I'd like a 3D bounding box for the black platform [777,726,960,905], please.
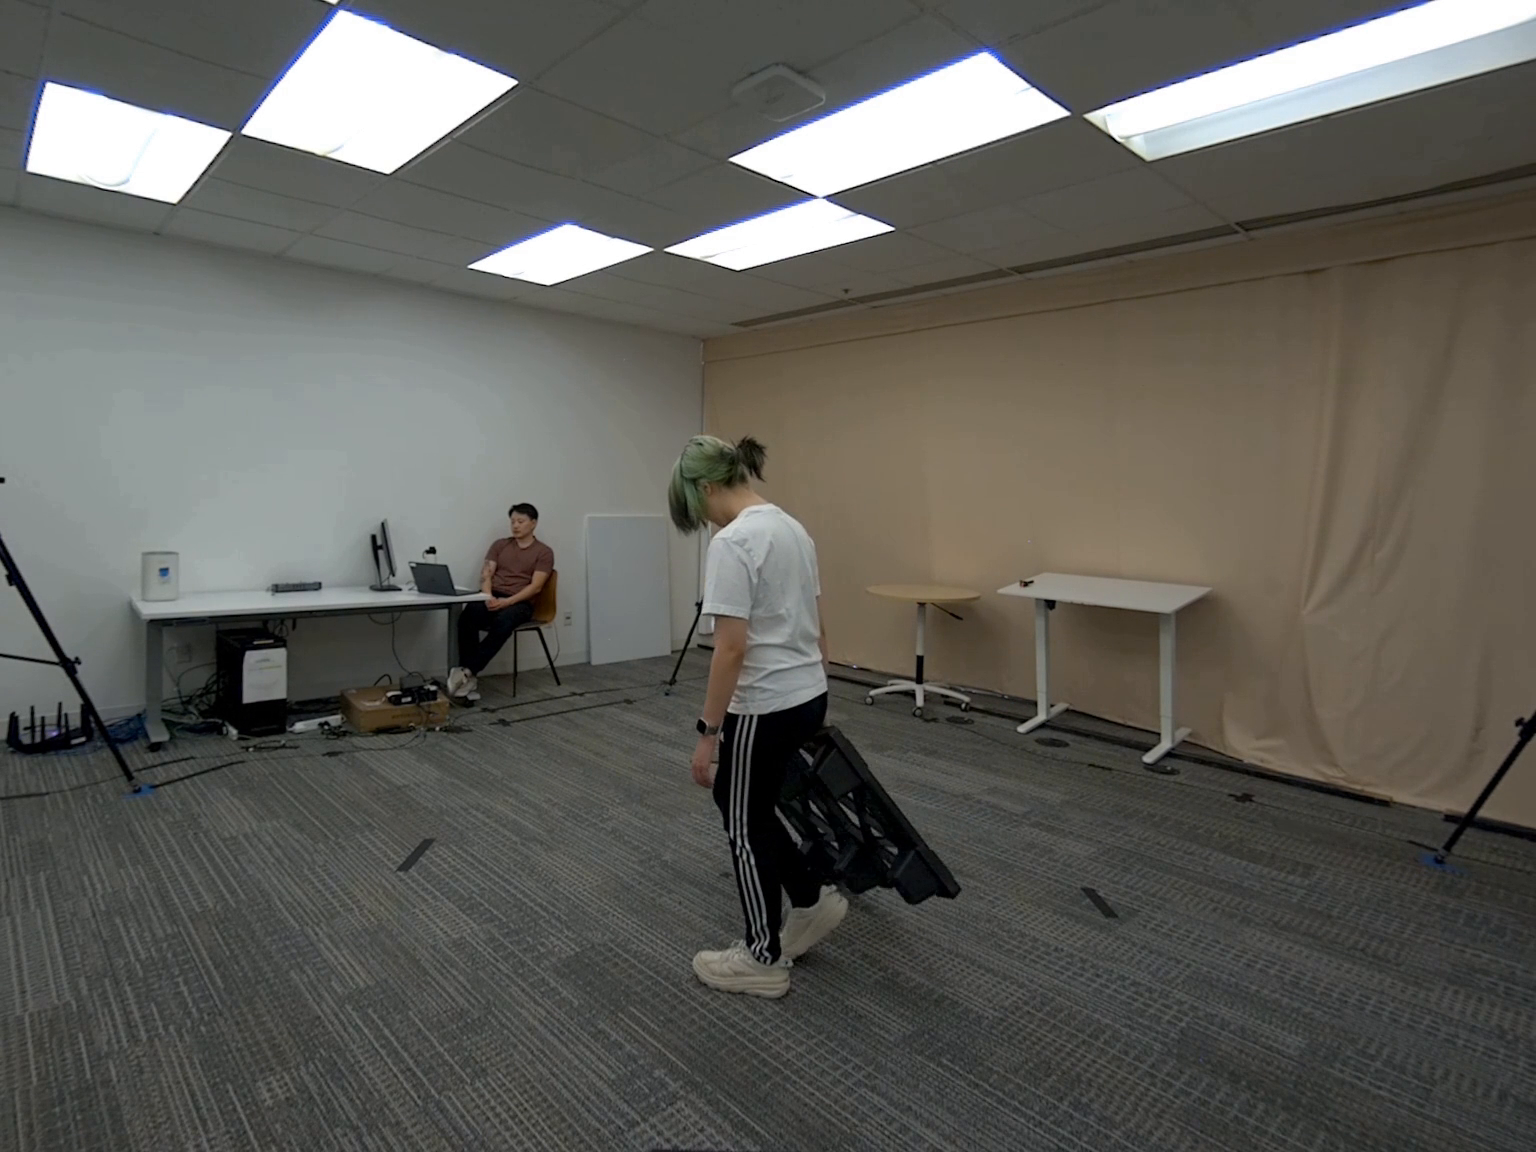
[{"bbox_3d":[0.184,0.802,2.749,0.142,0.606,0.809,-35,-1,-26],"label":"black platform"}]
